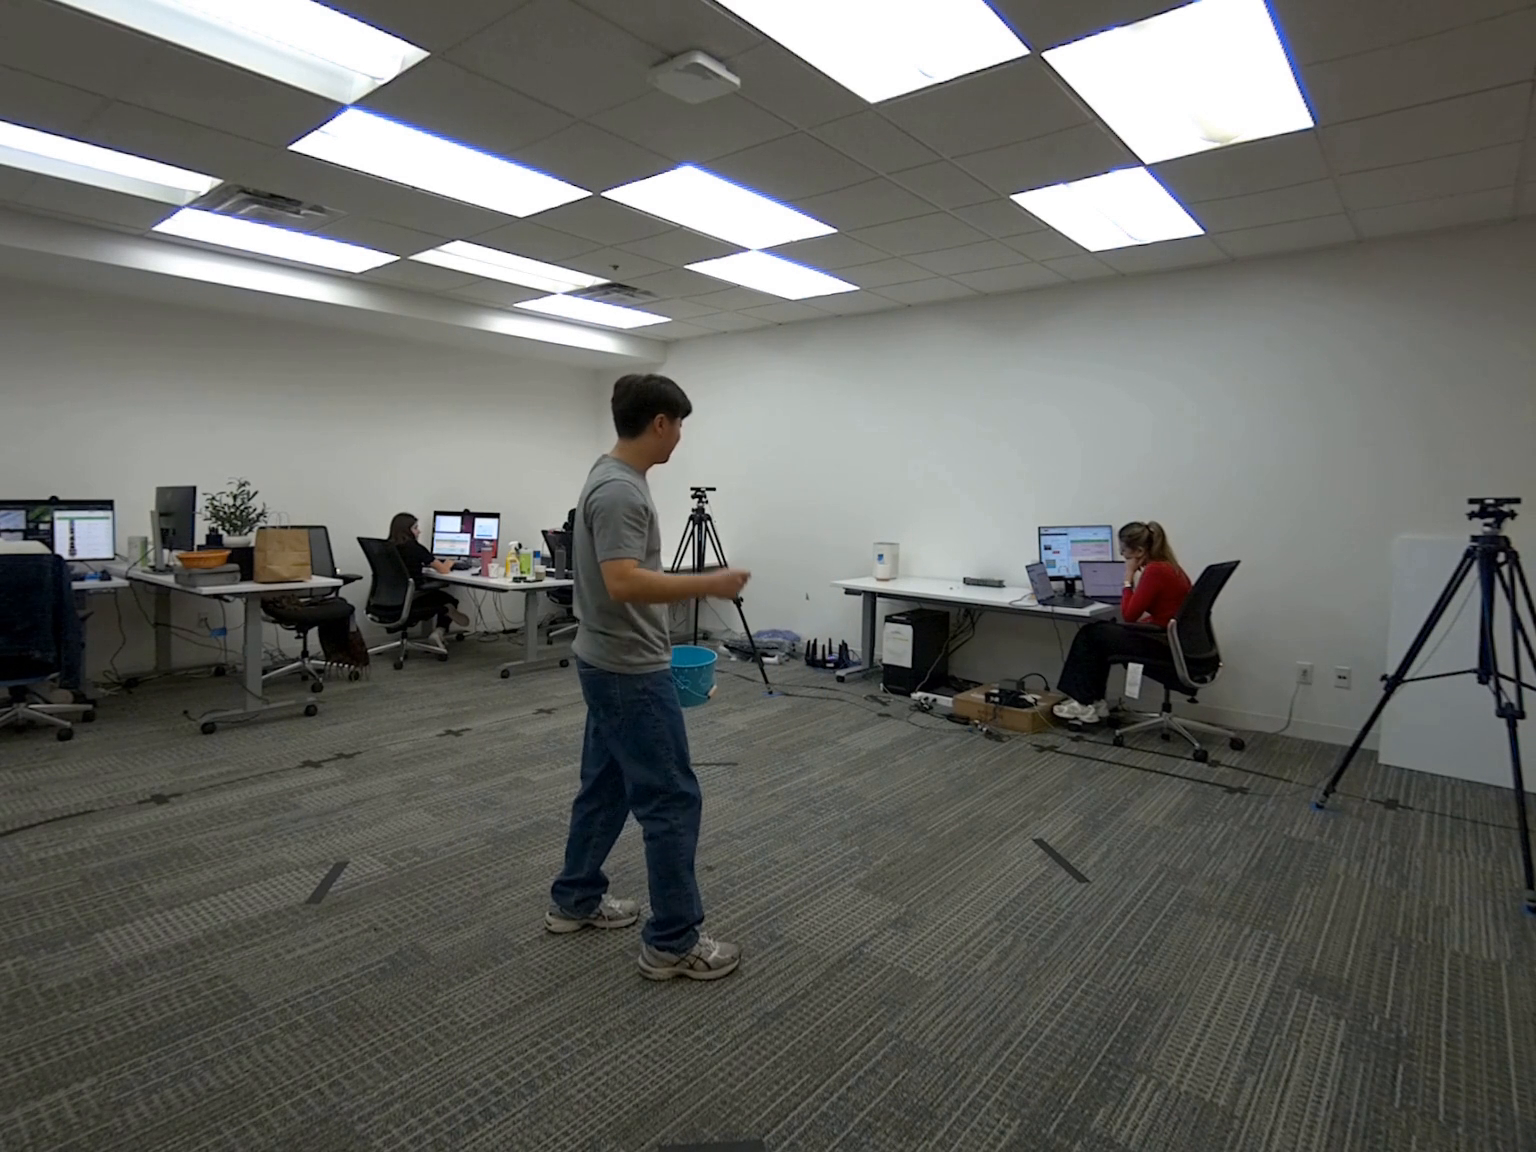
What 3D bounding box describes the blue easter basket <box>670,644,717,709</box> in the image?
[{"bbox_3d":[-0.305,0.352,2.902,0.243,0.154,0.246,-1,11,-2],"label":"blue easter basket"}]
